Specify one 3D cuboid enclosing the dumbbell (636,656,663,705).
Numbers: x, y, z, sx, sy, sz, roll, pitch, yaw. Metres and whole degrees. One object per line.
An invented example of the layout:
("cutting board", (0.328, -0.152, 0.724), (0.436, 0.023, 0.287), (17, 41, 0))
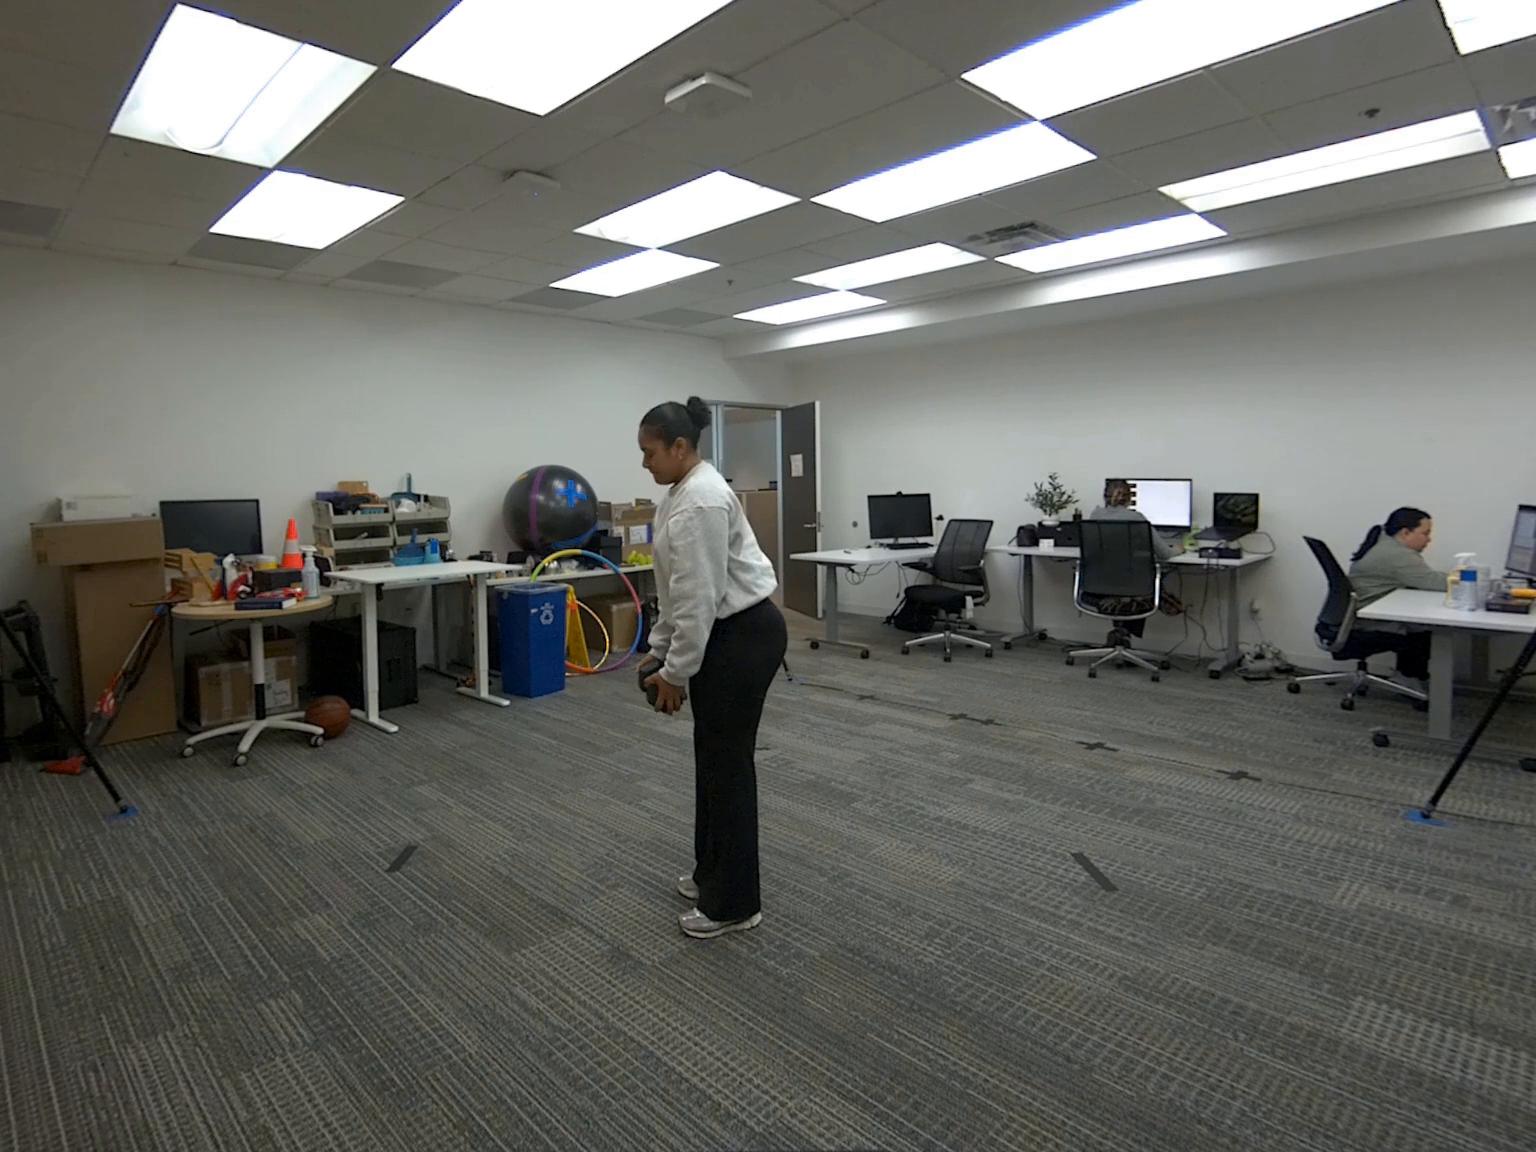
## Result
("dumbbell", (-0.340, 0.353, 2.732), (0.122, 0.107, 0.299), (-32, 13, -10))
